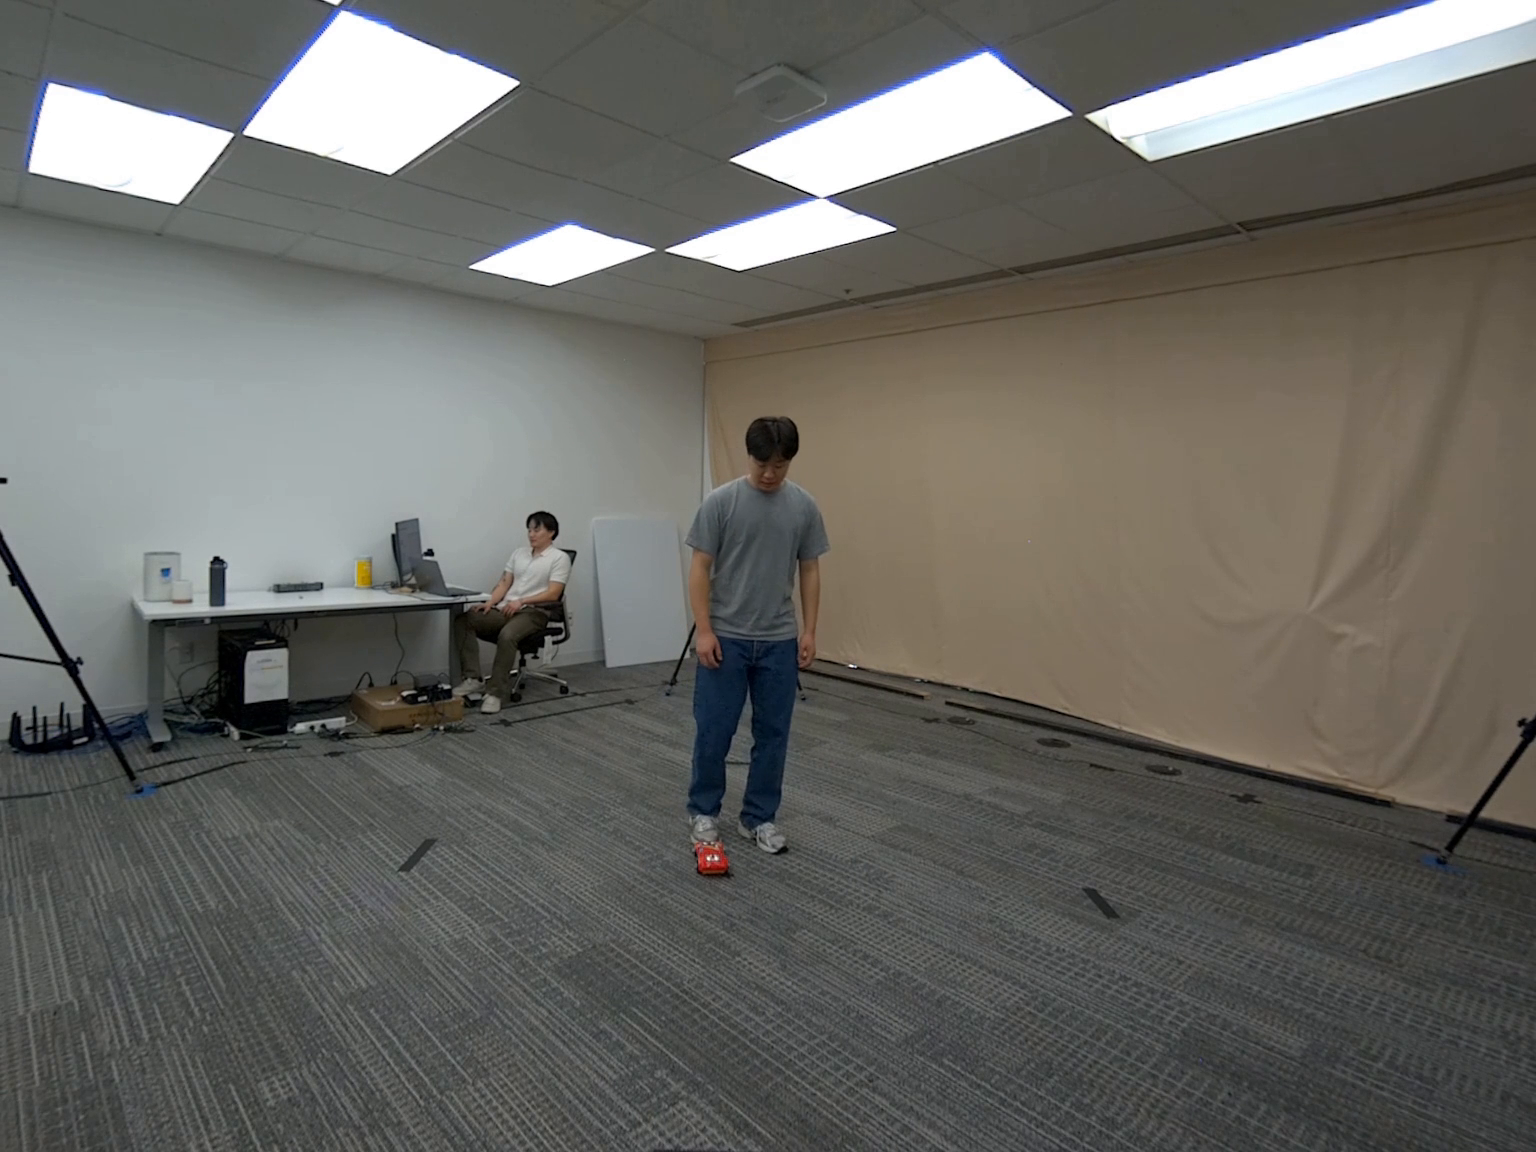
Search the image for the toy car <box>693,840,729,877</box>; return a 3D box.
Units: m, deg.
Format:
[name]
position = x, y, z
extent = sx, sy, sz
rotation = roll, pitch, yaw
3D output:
[toy car]
position = -0.224, 1.067, 3.167
extent = 0.130, 0.083, 0.254
rotation = 1, -6, -7
